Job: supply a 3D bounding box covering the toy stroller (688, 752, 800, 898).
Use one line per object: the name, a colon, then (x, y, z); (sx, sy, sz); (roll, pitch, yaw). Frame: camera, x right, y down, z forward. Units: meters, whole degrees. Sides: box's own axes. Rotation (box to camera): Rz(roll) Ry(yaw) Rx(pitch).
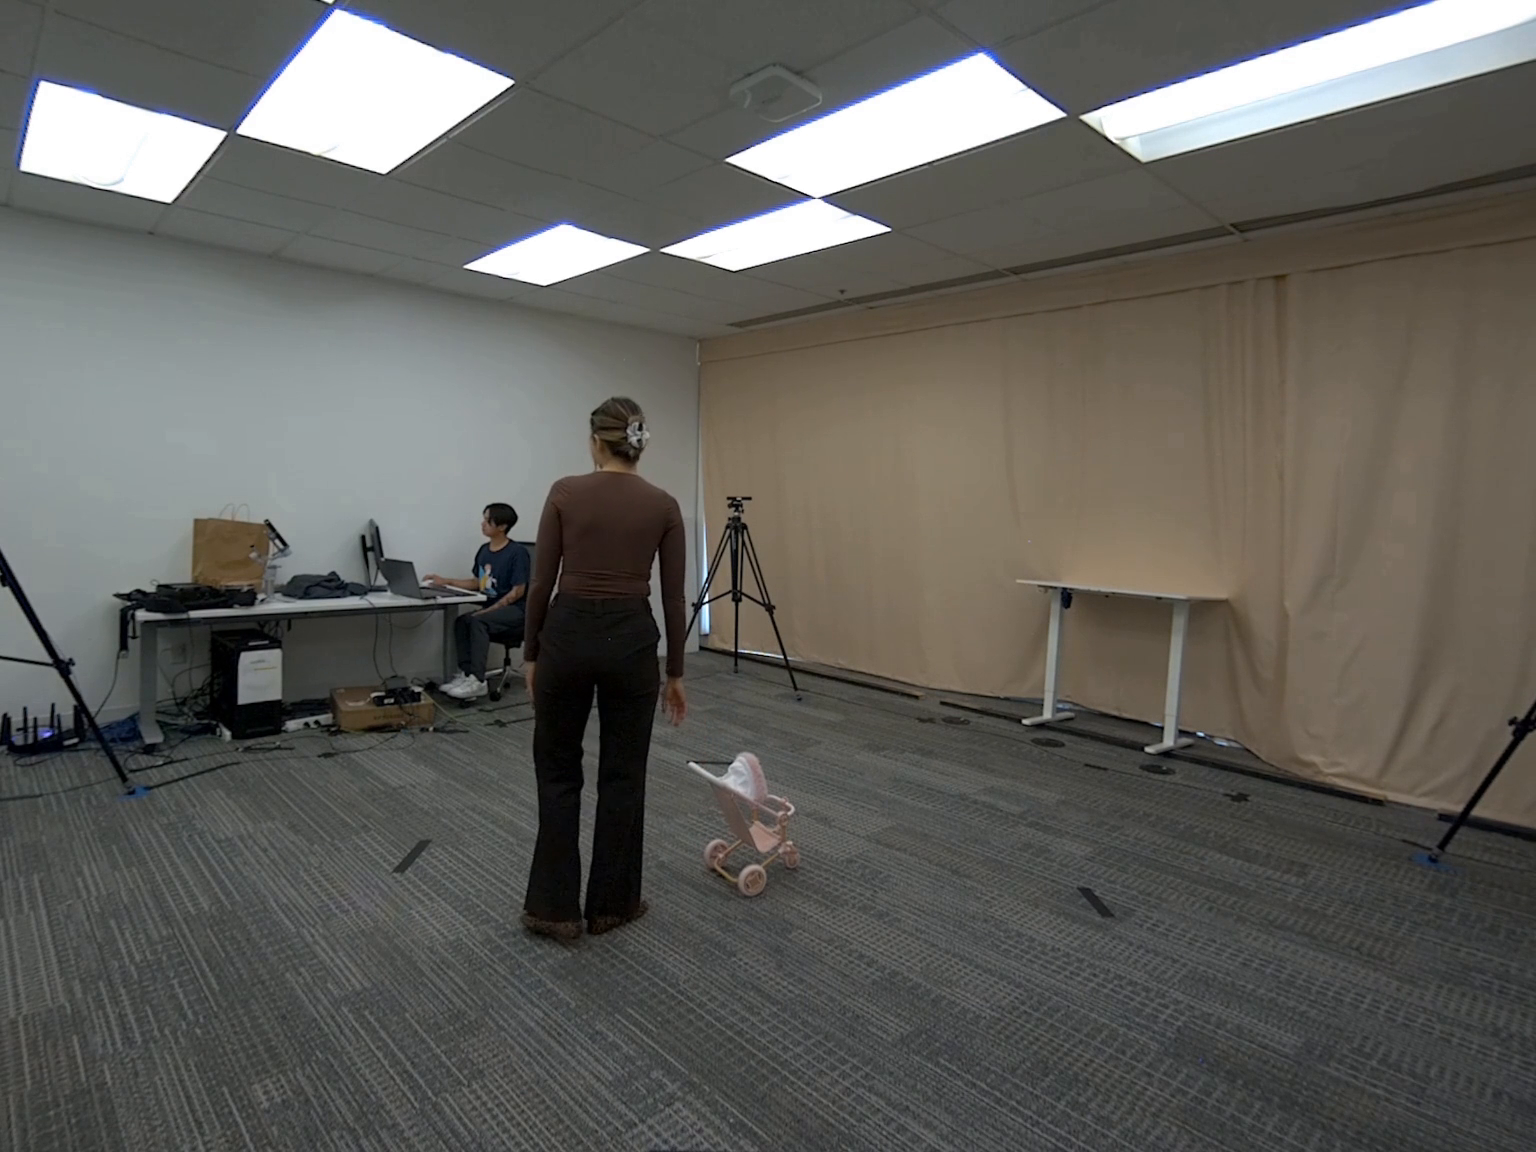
toy stroller: (-0.070, 0.882, 3.075); (0.337, 0.530, 0.287); (-17, 11, -26)
